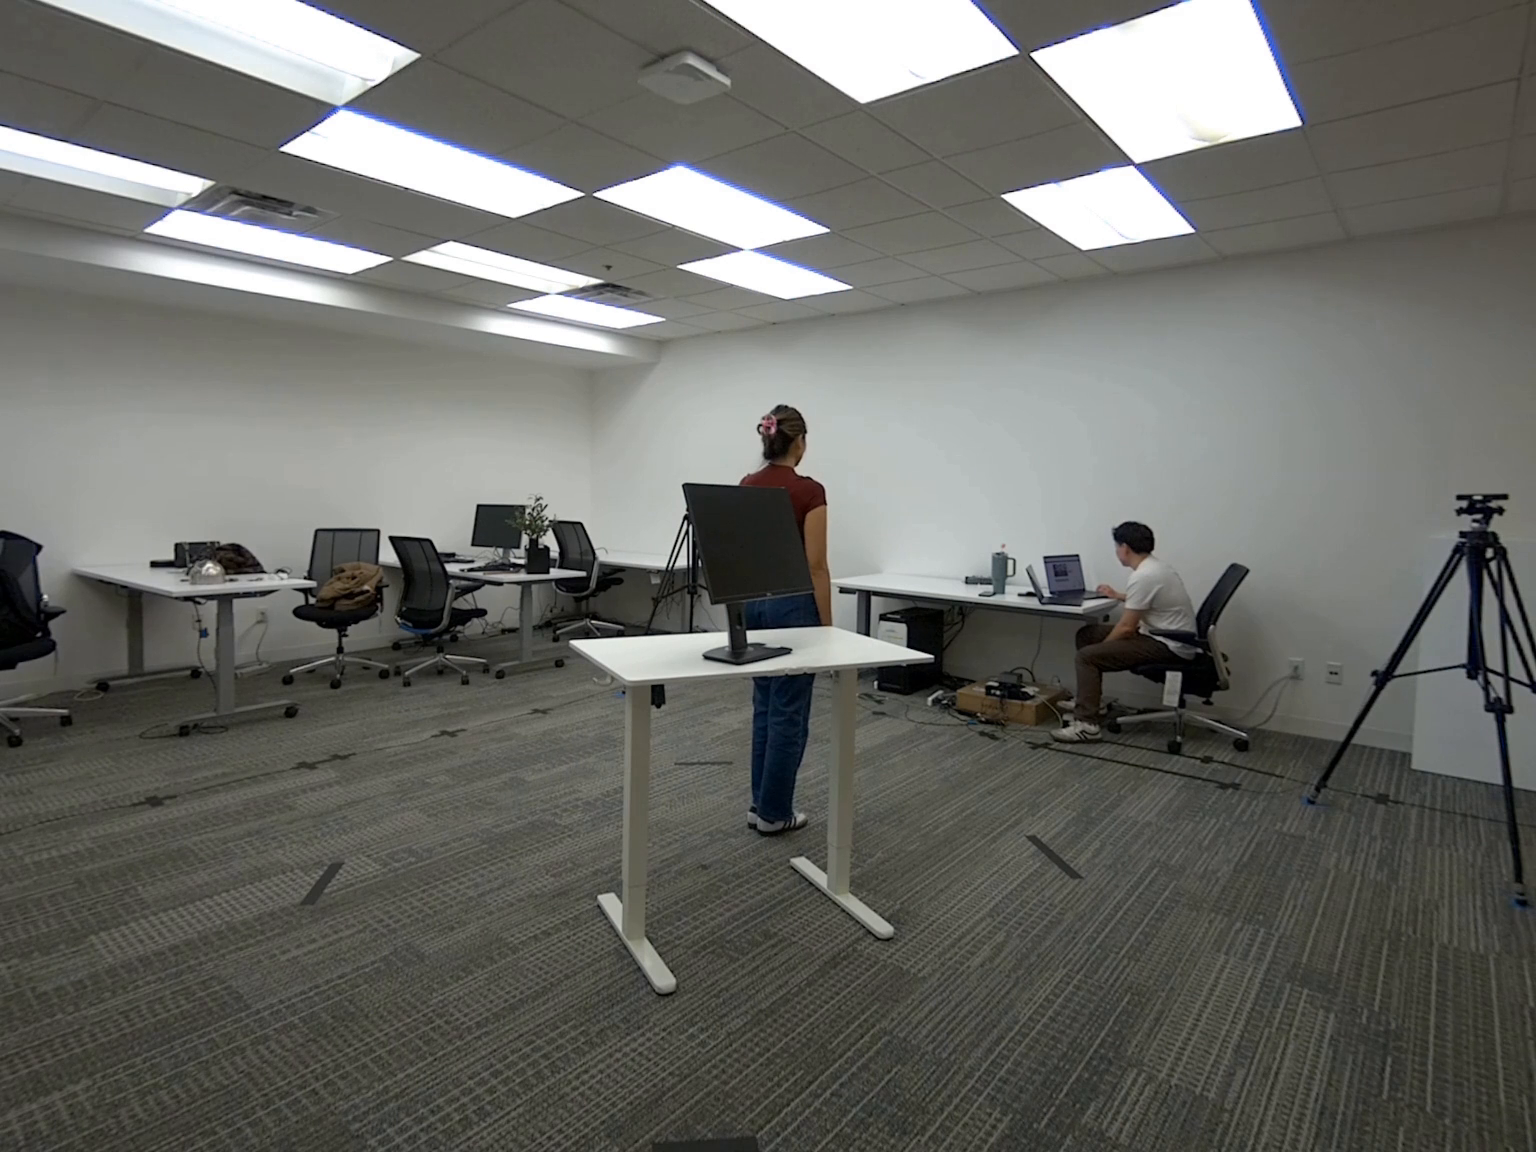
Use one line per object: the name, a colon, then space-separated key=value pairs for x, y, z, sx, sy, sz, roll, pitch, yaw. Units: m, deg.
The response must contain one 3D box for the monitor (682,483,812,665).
monitor: x=-0.075 y=-0.016 z=2.589 sx=0.192 sy=0.522 sz=0.524 roll=-2 pitch=1 yaw=32
